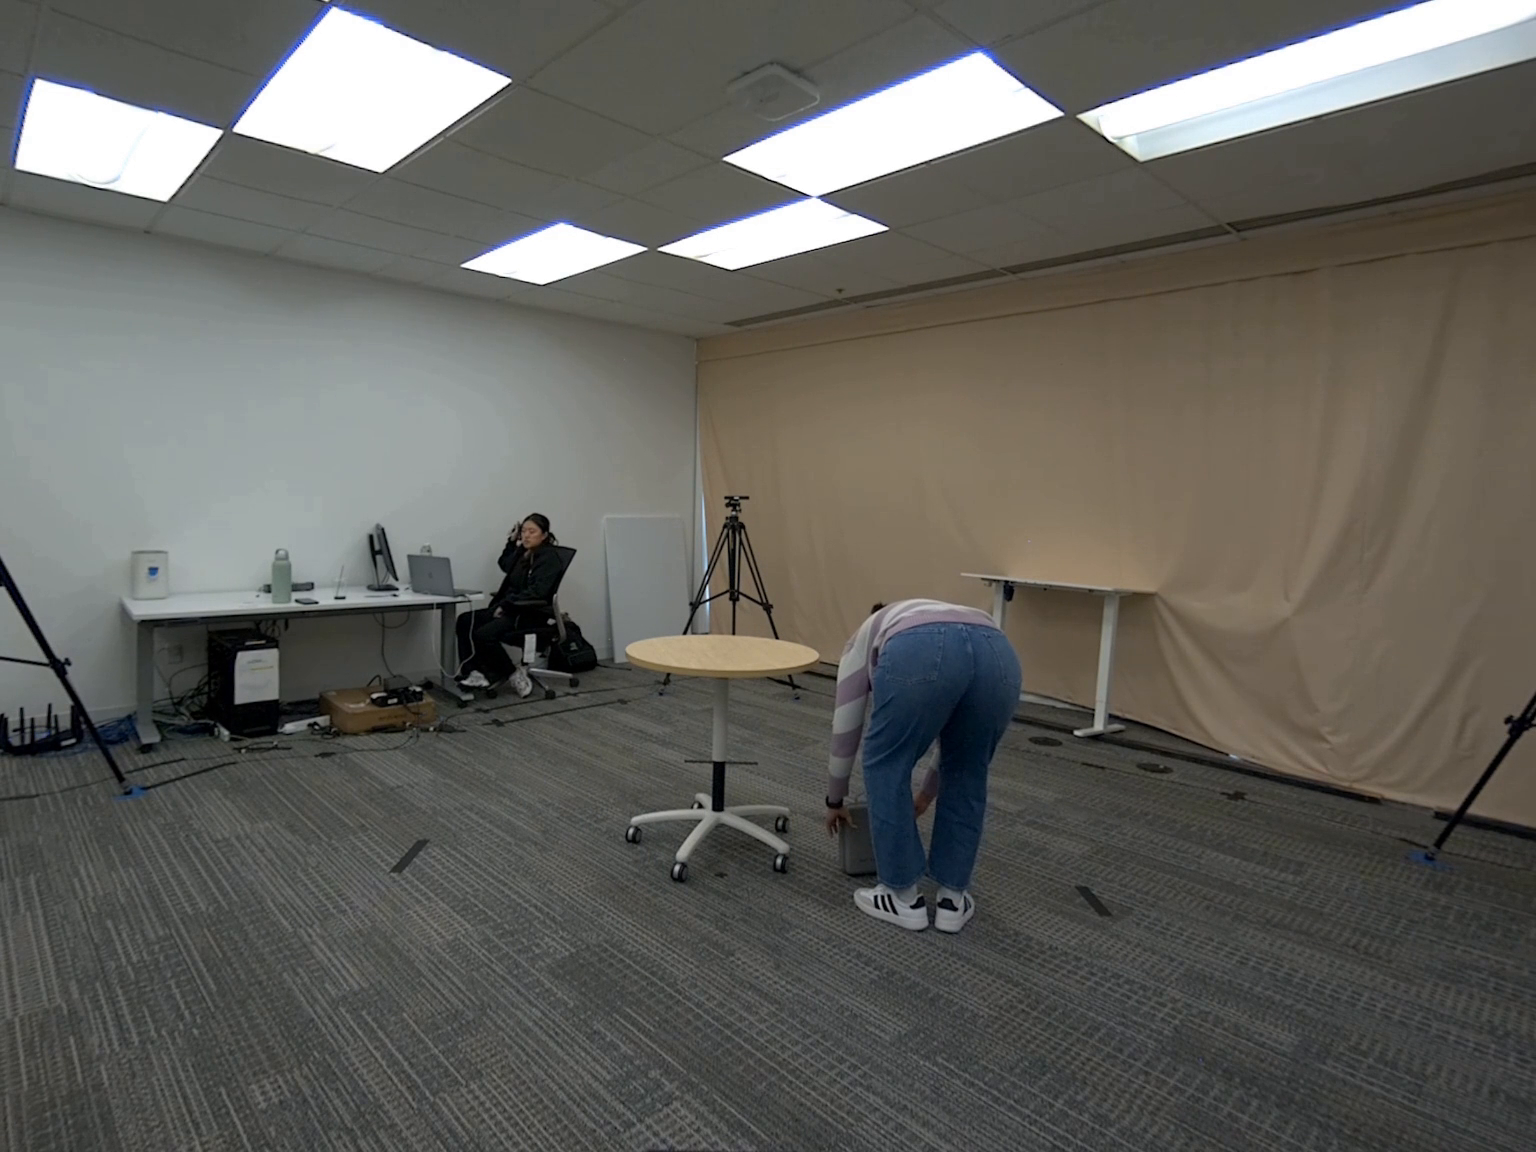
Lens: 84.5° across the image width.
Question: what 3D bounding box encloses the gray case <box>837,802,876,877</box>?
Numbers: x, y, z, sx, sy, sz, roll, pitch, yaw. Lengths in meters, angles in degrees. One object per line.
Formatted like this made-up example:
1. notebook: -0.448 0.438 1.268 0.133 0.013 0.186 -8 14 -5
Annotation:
1. gray case: 0.394 0.979 3.178 0.253 0.261 0.105 1 -5 -16
